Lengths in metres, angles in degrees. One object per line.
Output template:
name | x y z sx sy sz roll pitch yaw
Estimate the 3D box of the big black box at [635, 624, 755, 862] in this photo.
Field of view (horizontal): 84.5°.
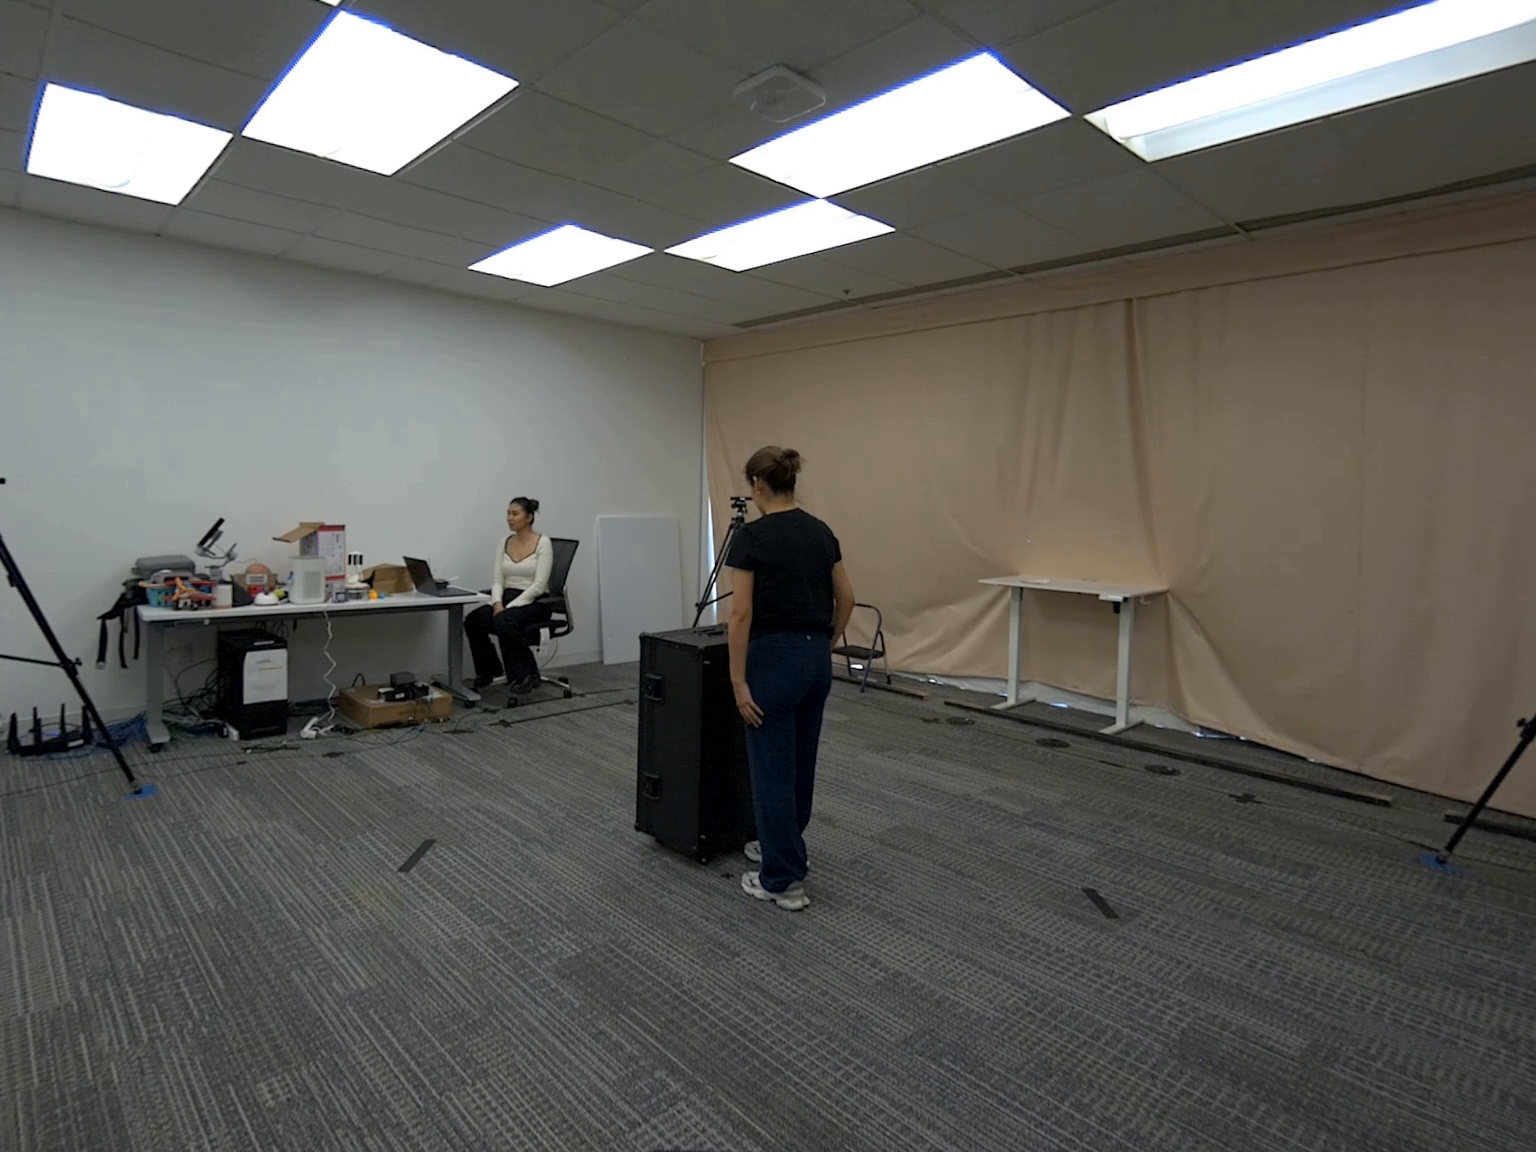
big black box | -0.237 0.658 3.362 0.406 0.859 0.509 4 4 41
